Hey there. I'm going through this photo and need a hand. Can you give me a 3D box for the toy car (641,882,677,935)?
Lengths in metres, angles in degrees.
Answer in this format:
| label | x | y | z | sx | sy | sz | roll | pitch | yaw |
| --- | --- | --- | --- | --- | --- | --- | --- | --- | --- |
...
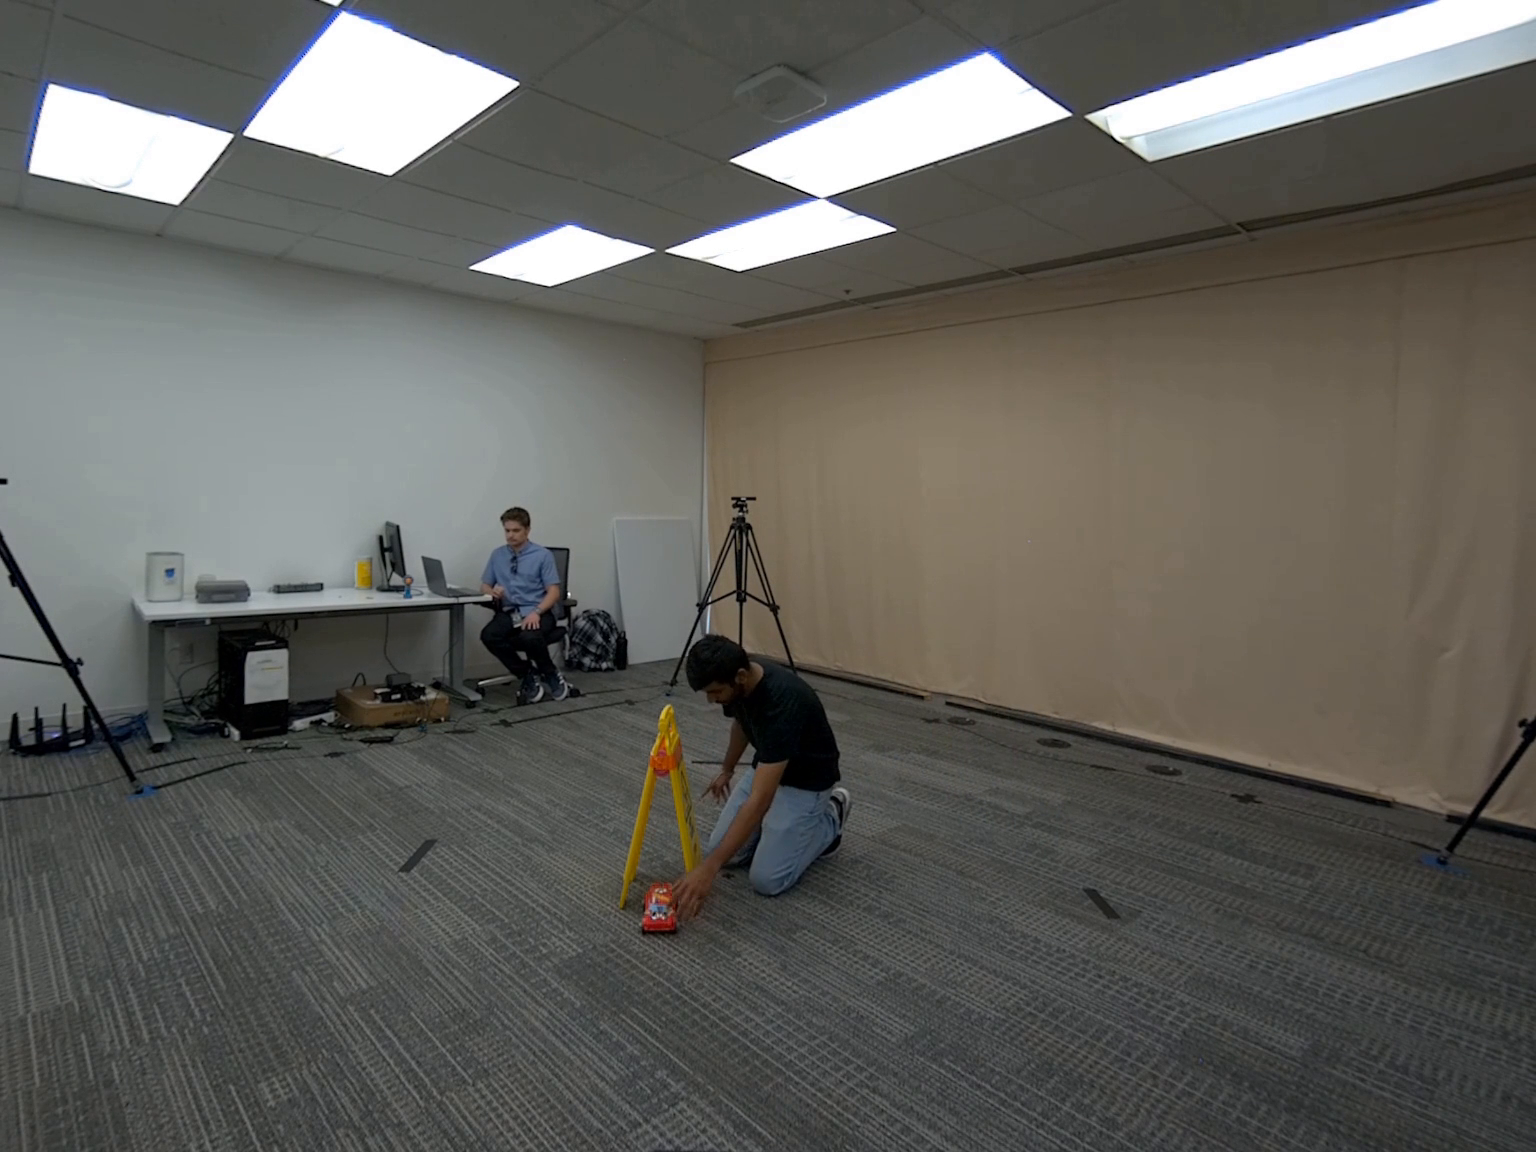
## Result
| label | x | y | z | sx | sy | sz | roll | pitch | yaw |
| --- | --- | --- | --- | --- | --- | --- | --- | --- | --- |
| toy car | -0.363 | 1.098 | 2.774 | 0.130 | 0.082 | 0.258 | 1 | 16 | -4 |
